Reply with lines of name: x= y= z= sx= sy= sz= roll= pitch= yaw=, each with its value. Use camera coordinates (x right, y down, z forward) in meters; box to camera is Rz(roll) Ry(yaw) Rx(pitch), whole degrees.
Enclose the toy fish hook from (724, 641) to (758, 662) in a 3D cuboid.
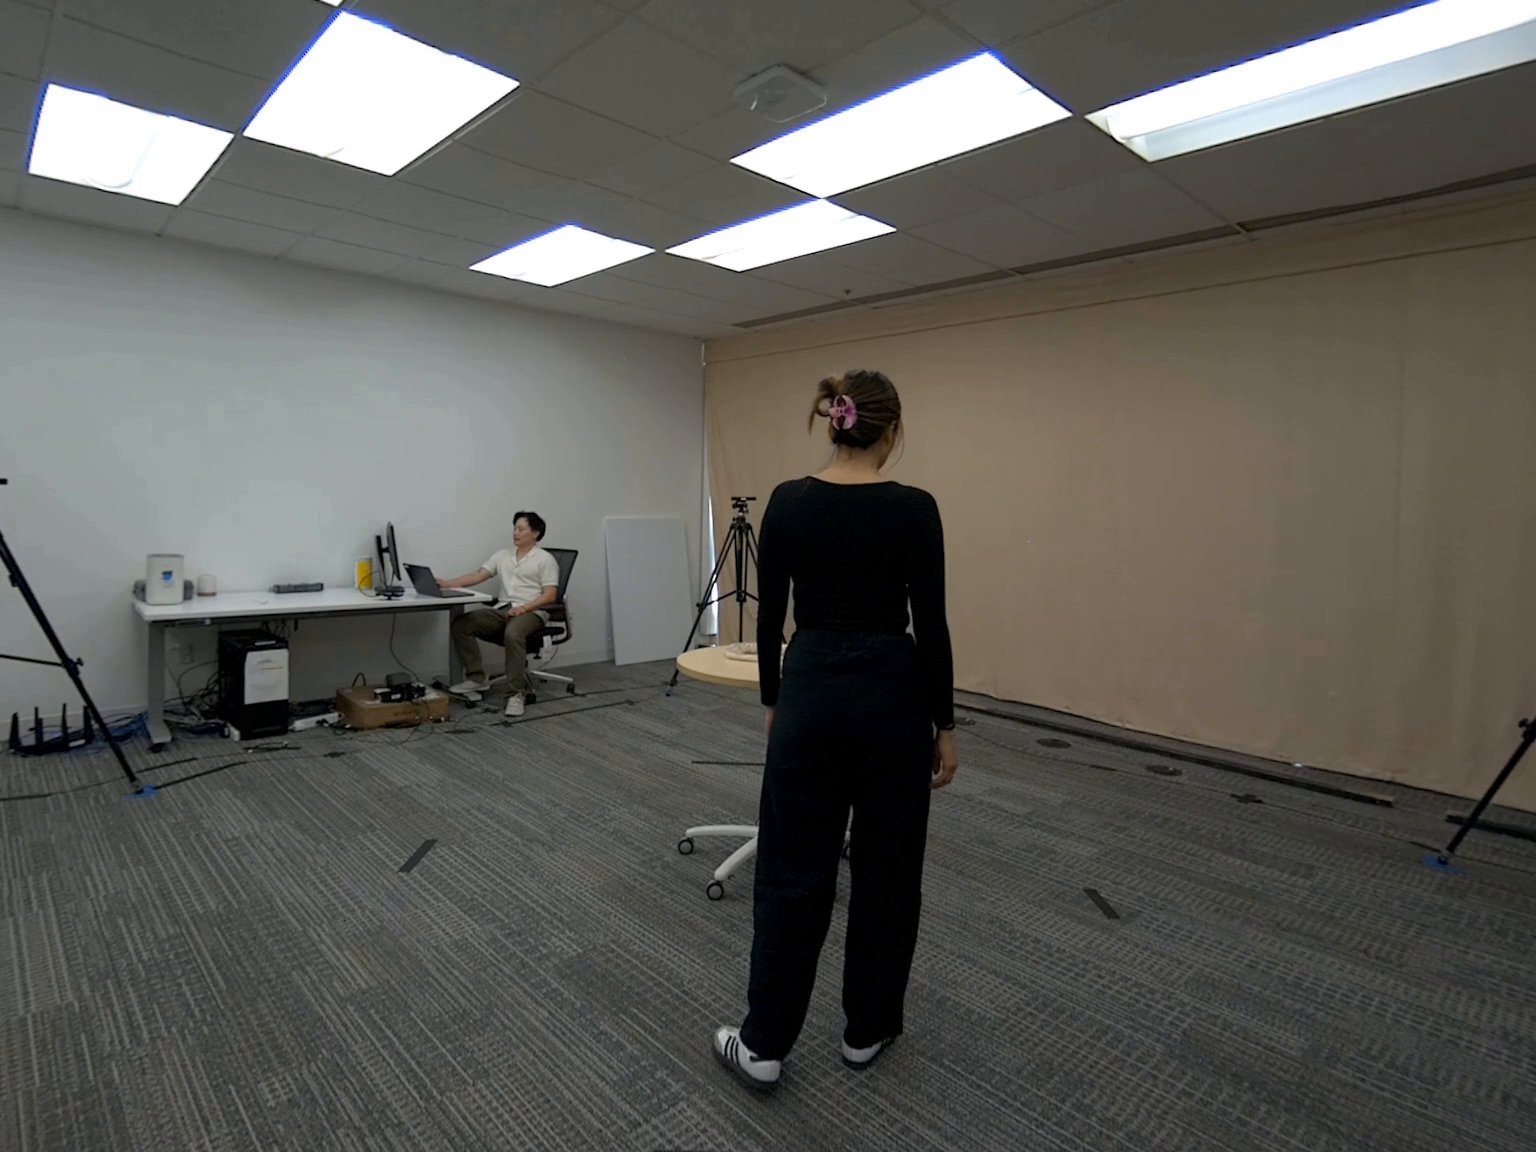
toy fish hook: x=0.093 y=0.311 z=3.241 sx=0.505 sy=0.048 sz=0.227 roll=0 pitch=13 yaw=-3
